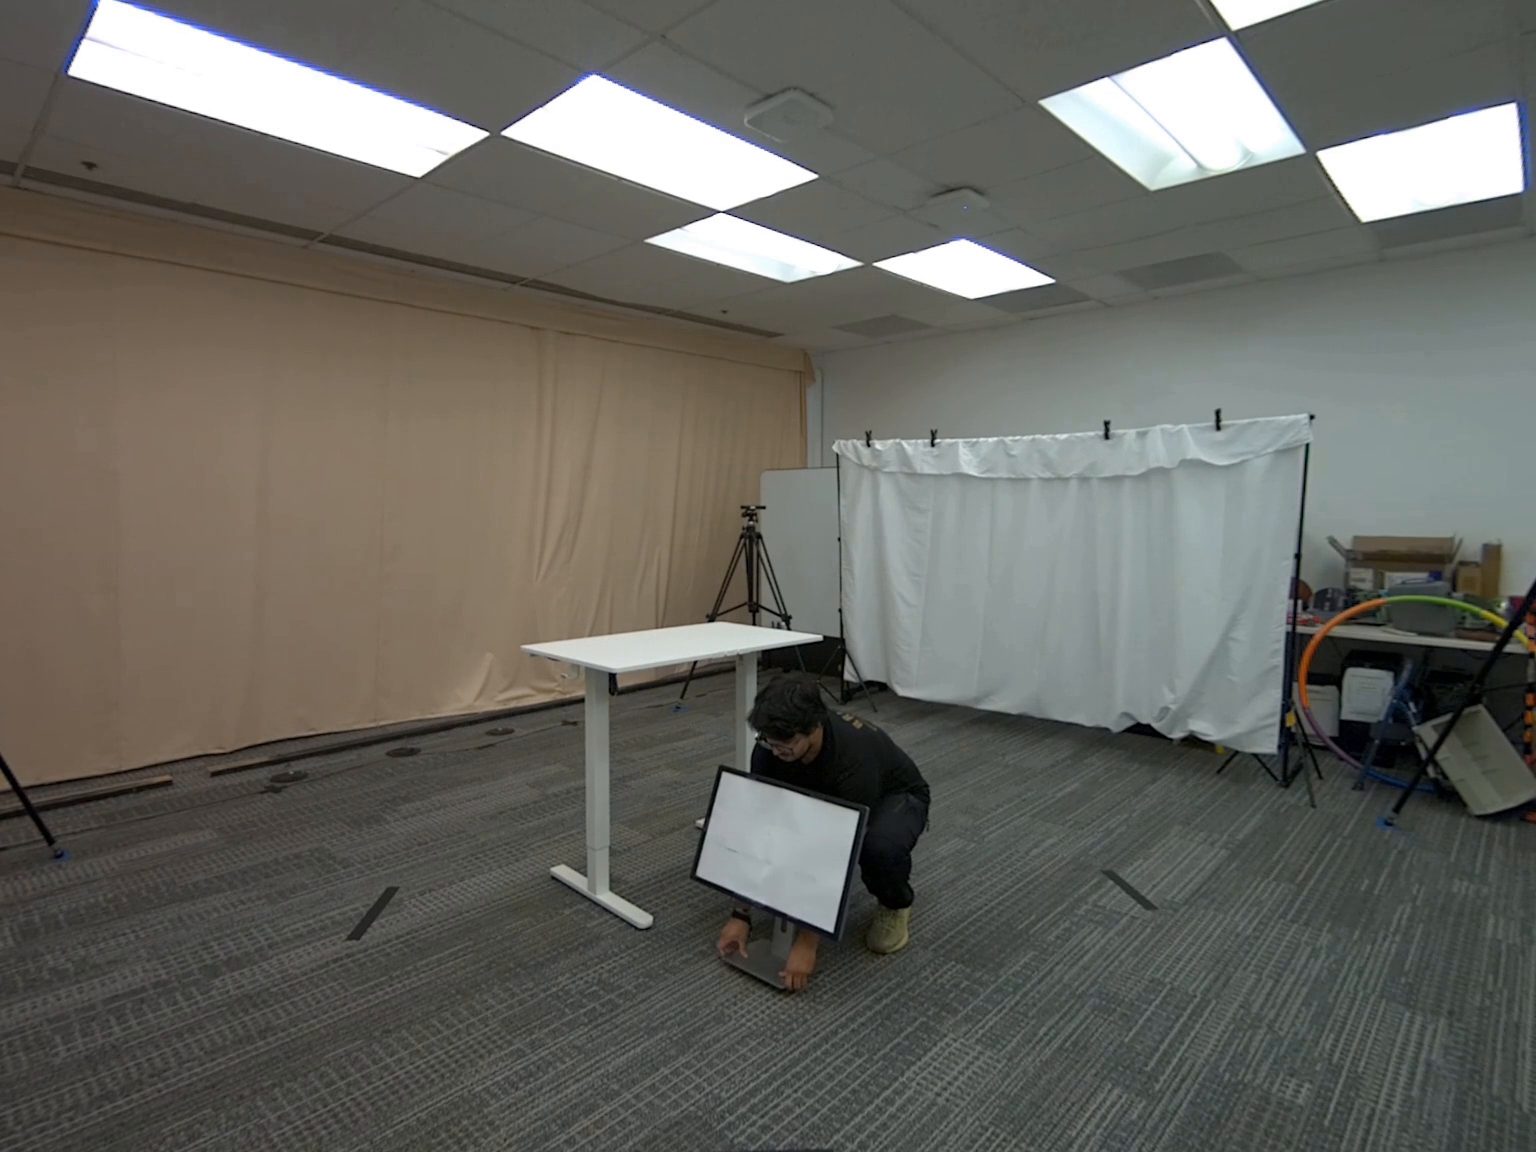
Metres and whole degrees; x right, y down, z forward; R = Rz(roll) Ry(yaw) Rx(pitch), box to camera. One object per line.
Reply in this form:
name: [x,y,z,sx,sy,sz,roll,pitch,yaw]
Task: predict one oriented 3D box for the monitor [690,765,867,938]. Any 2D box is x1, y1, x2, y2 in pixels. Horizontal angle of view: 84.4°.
monitor: [0.050,0.905,2.565,0.584,0.555,0.203,4,-8,41]
